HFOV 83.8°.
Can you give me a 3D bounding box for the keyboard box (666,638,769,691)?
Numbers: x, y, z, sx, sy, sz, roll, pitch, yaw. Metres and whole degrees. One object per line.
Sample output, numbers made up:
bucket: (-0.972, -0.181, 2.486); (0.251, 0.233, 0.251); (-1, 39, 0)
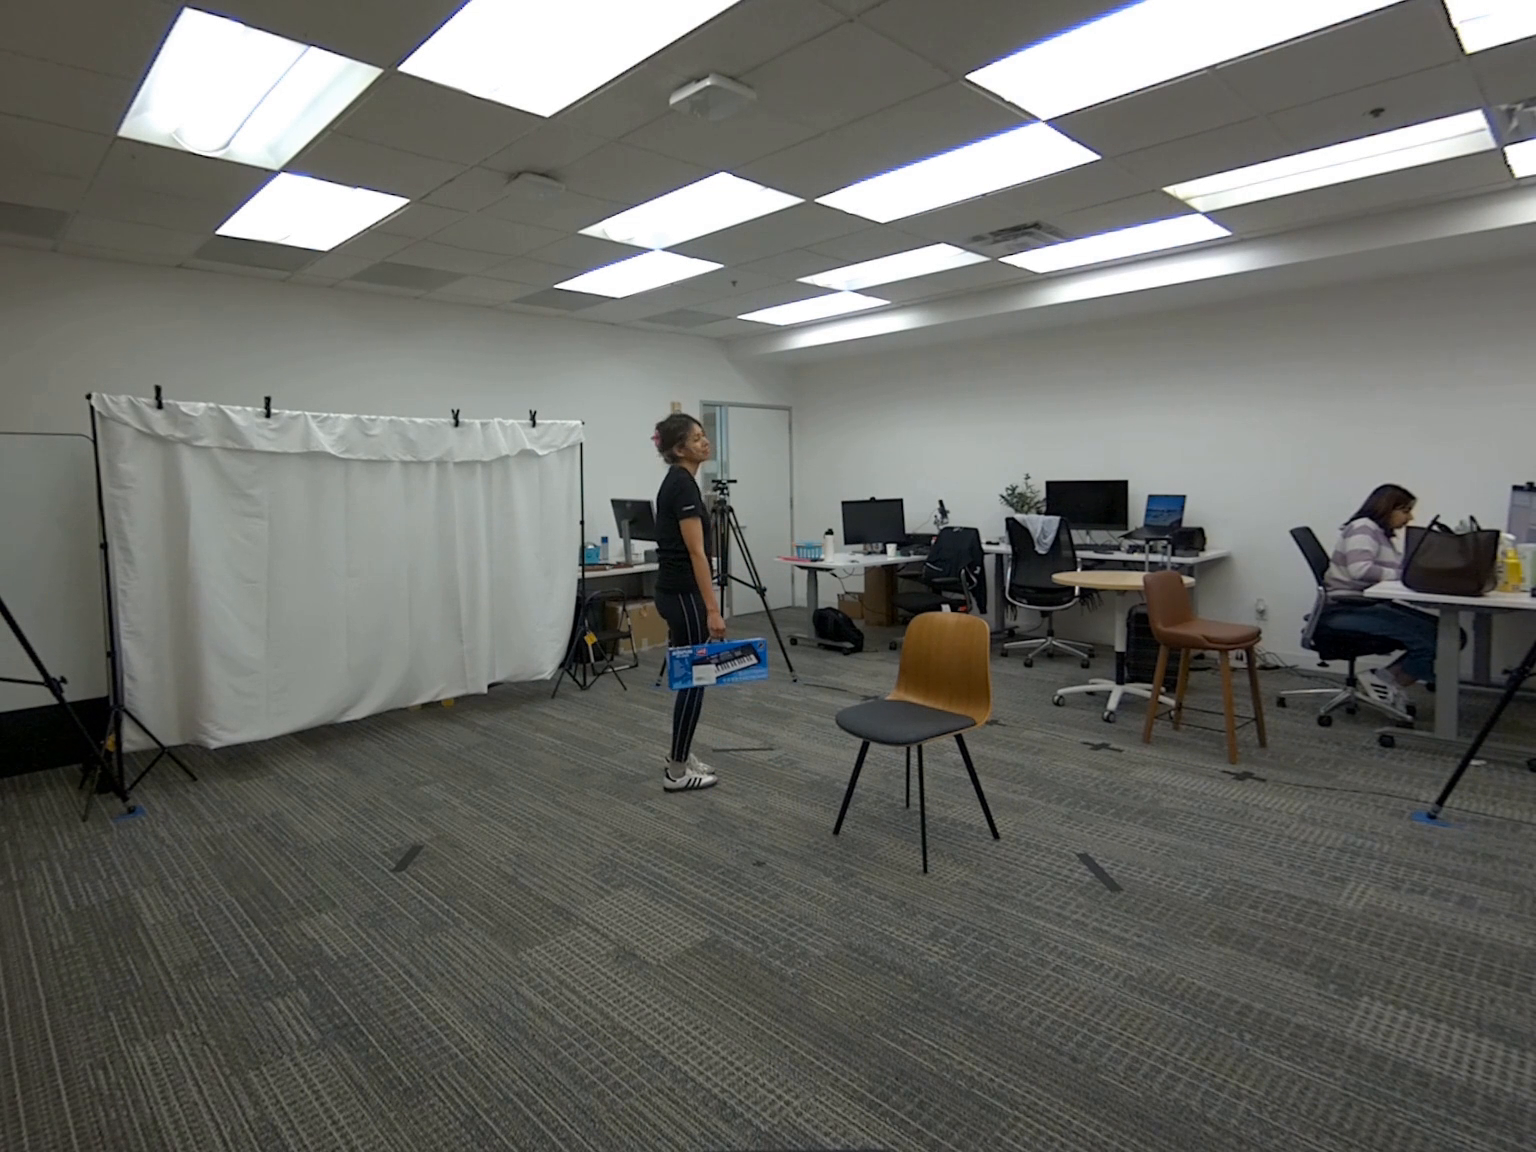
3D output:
keyboard box: (-0.225, 0.375, 3.681); (0.430, 0.176, 0.060); (-5, 0, -19)
